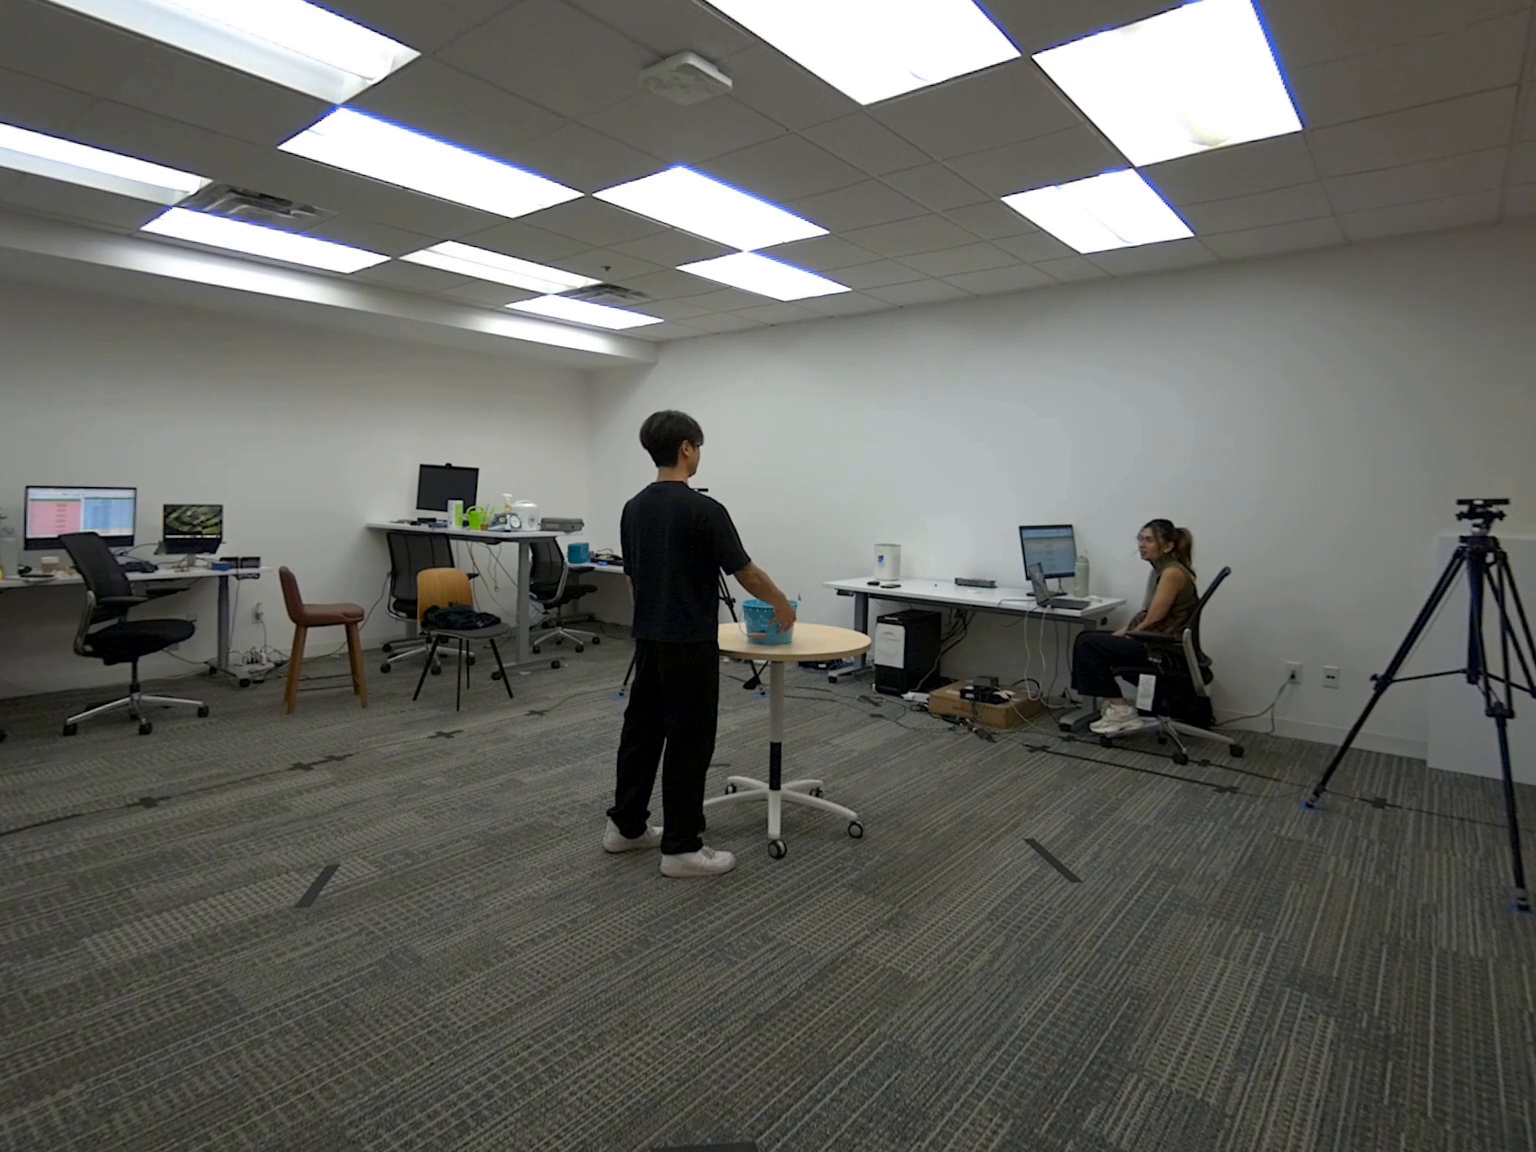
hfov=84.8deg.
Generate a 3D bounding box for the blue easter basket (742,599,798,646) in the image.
[{"bbox_3d":[-0.008,0.178,3.435,0.243,0.155,0.245,0,6,-2],"label":"blue easter basket"}]
